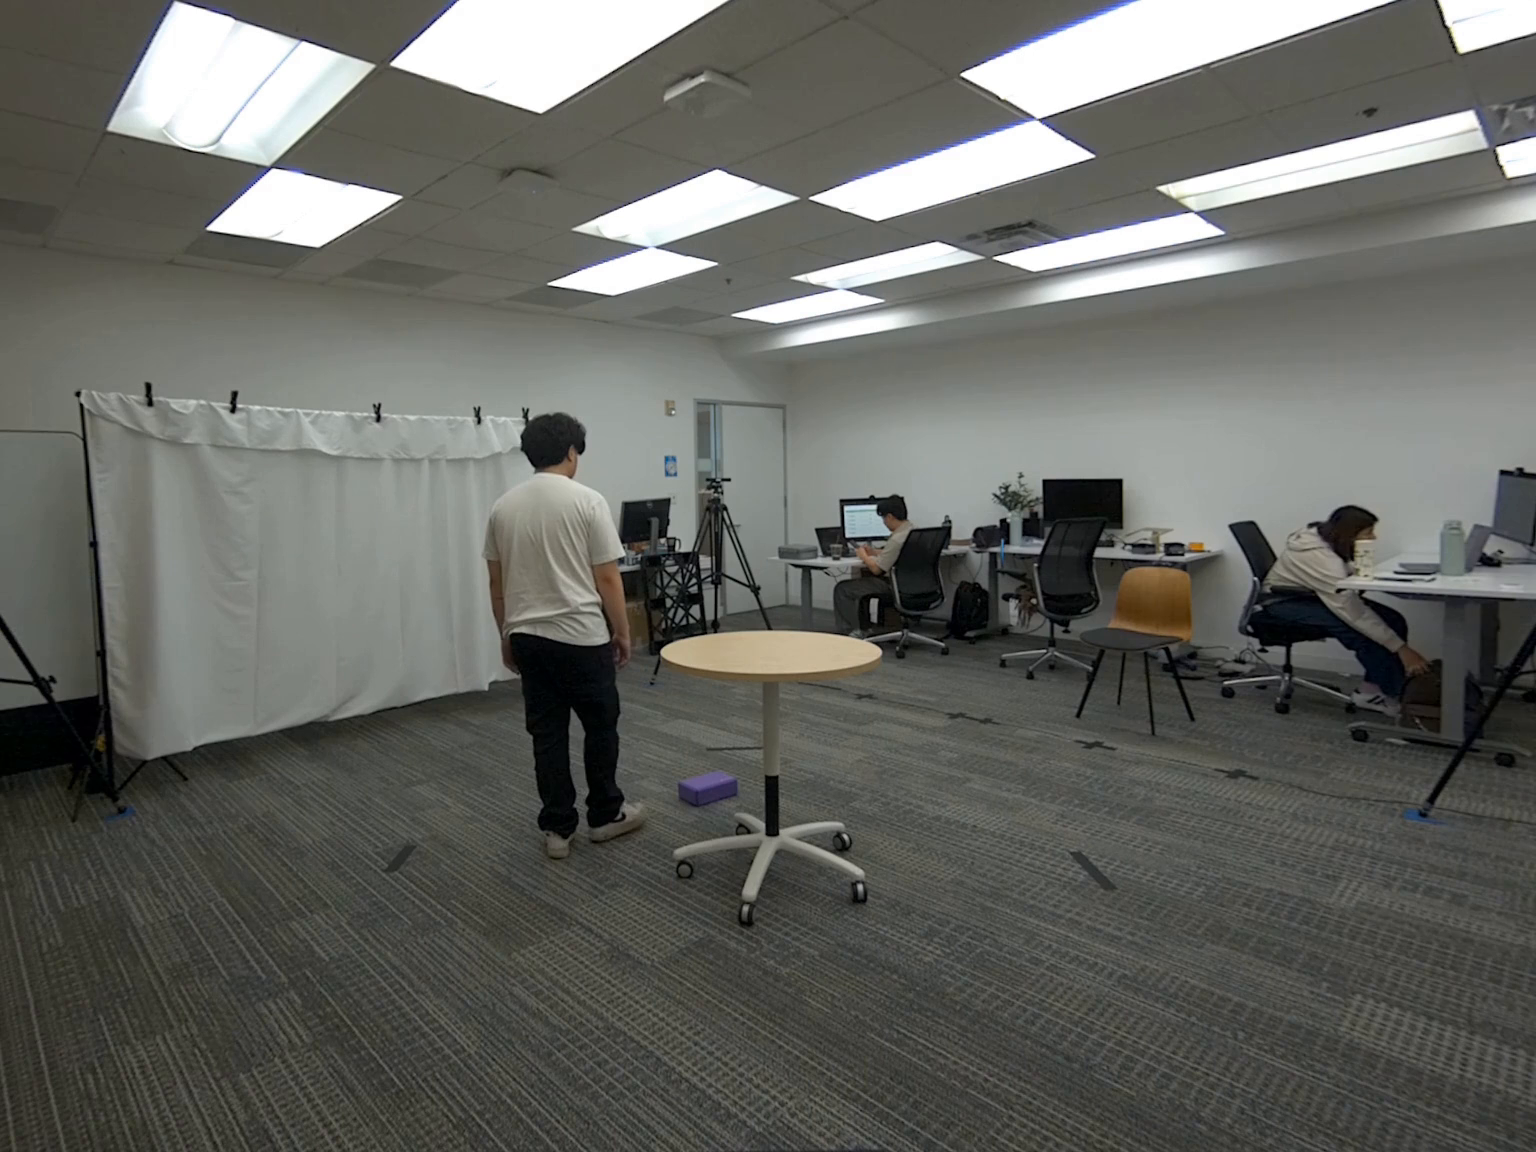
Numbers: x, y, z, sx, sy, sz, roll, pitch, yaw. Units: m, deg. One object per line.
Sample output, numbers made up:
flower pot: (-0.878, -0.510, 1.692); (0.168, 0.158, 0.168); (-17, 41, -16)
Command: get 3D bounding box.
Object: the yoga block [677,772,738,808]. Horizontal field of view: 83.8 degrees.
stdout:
yoga block: (-0.264, 0.934, 3.766); (0.223, 0.076, 0.153); (-5, 6, -39)
